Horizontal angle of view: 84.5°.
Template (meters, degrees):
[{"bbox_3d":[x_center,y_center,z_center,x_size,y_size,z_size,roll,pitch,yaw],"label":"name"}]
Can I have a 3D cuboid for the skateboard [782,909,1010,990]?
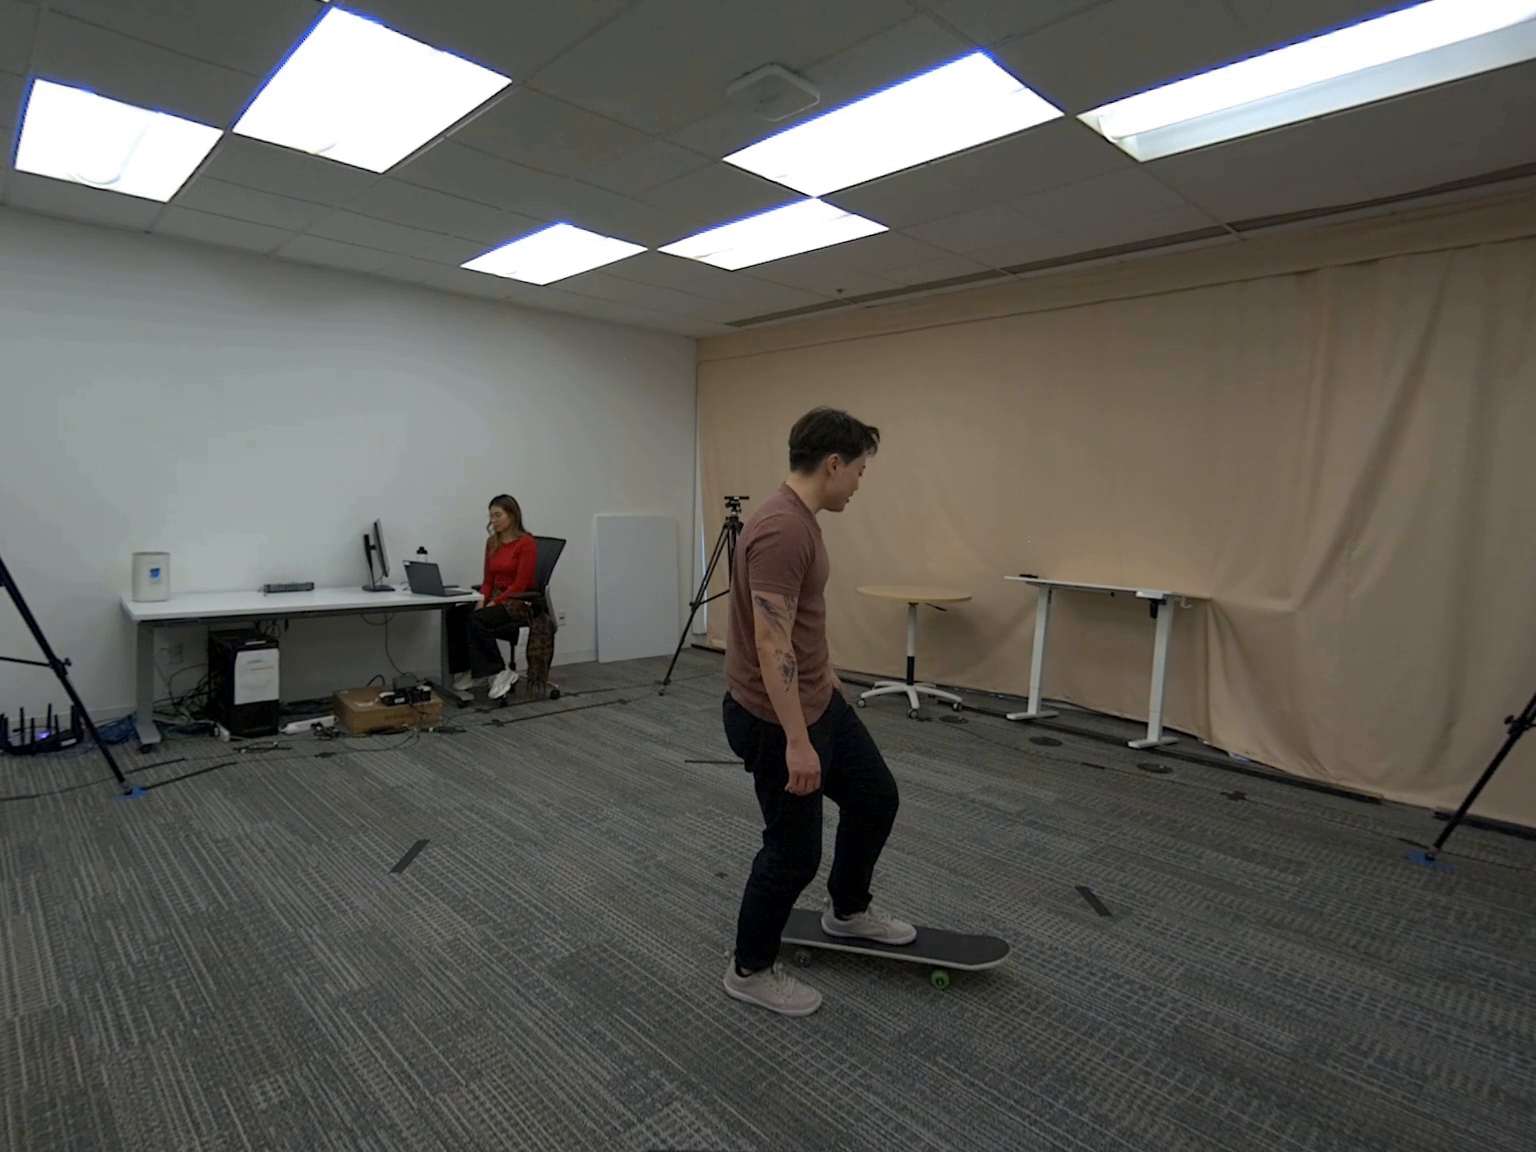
[{"bbox_3d":[0.298,1.113,2.535,0.794,0.110,0.192,2,4,13],"label":"skateboard"}]
